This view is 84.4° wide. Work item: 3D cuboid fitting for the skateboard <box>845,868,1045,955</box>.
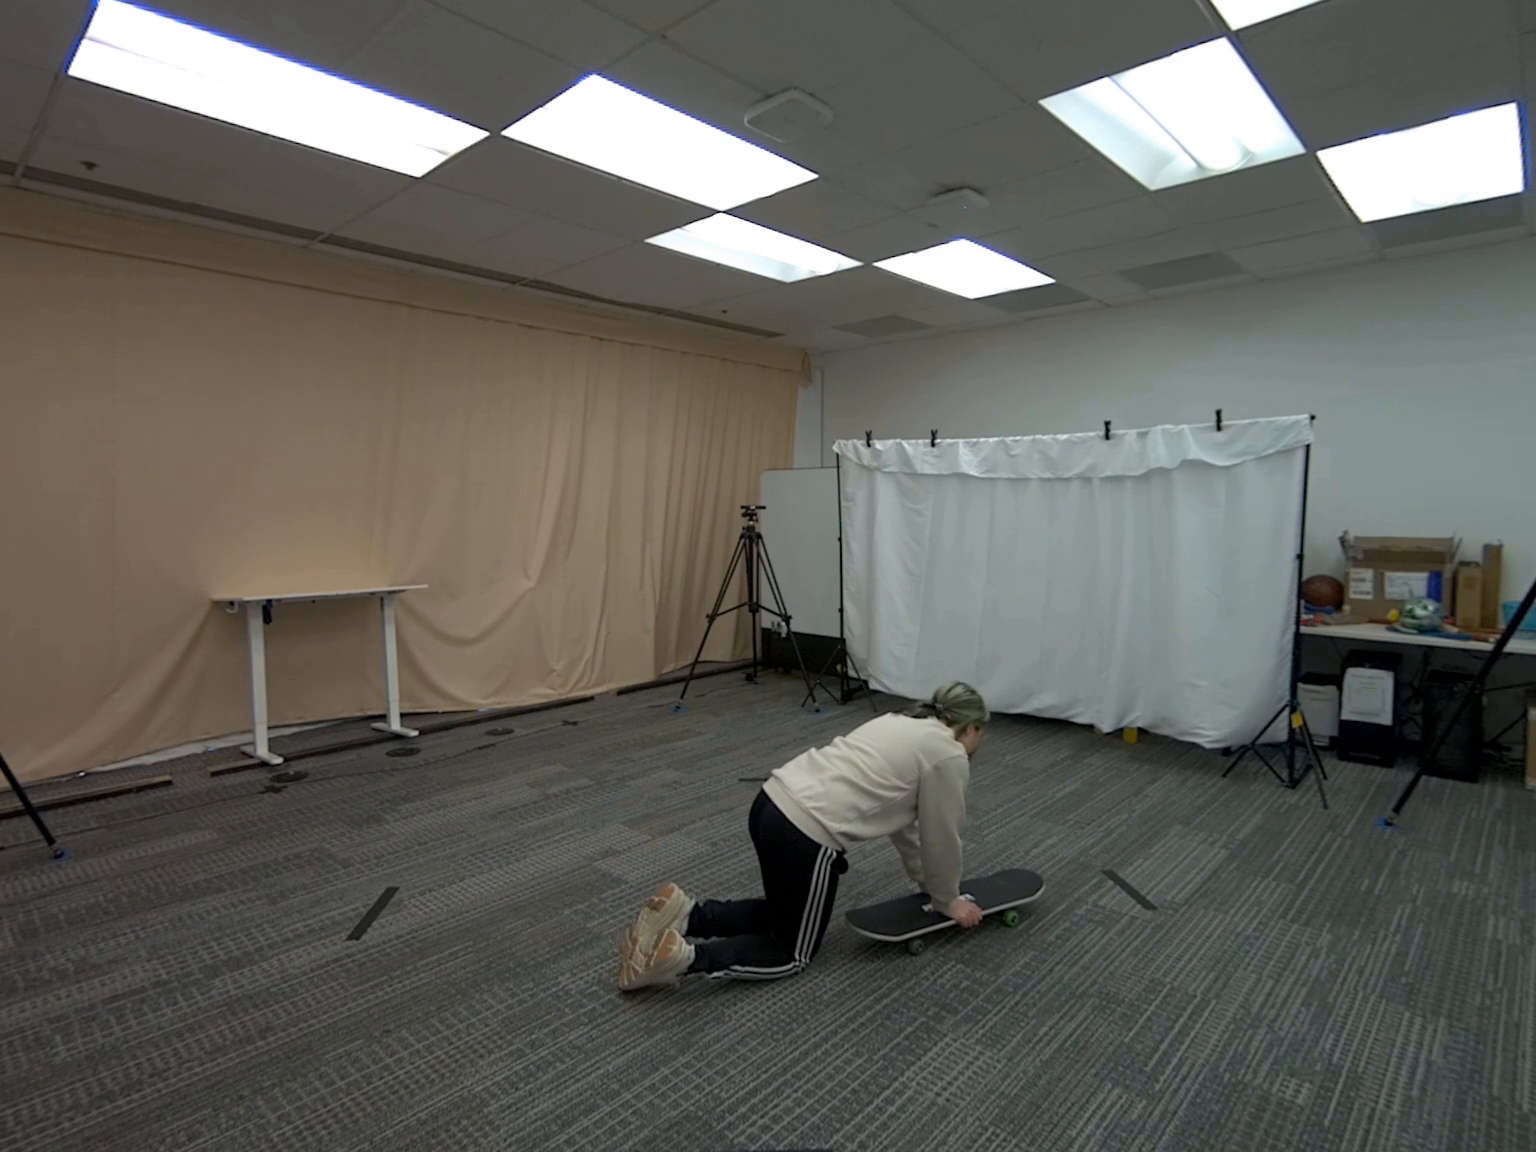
[{"bbox_3d":[0.593,1.106,2.762,0.766,0.110,0.199,-3,5,-26],"label":"skateboard"}]
